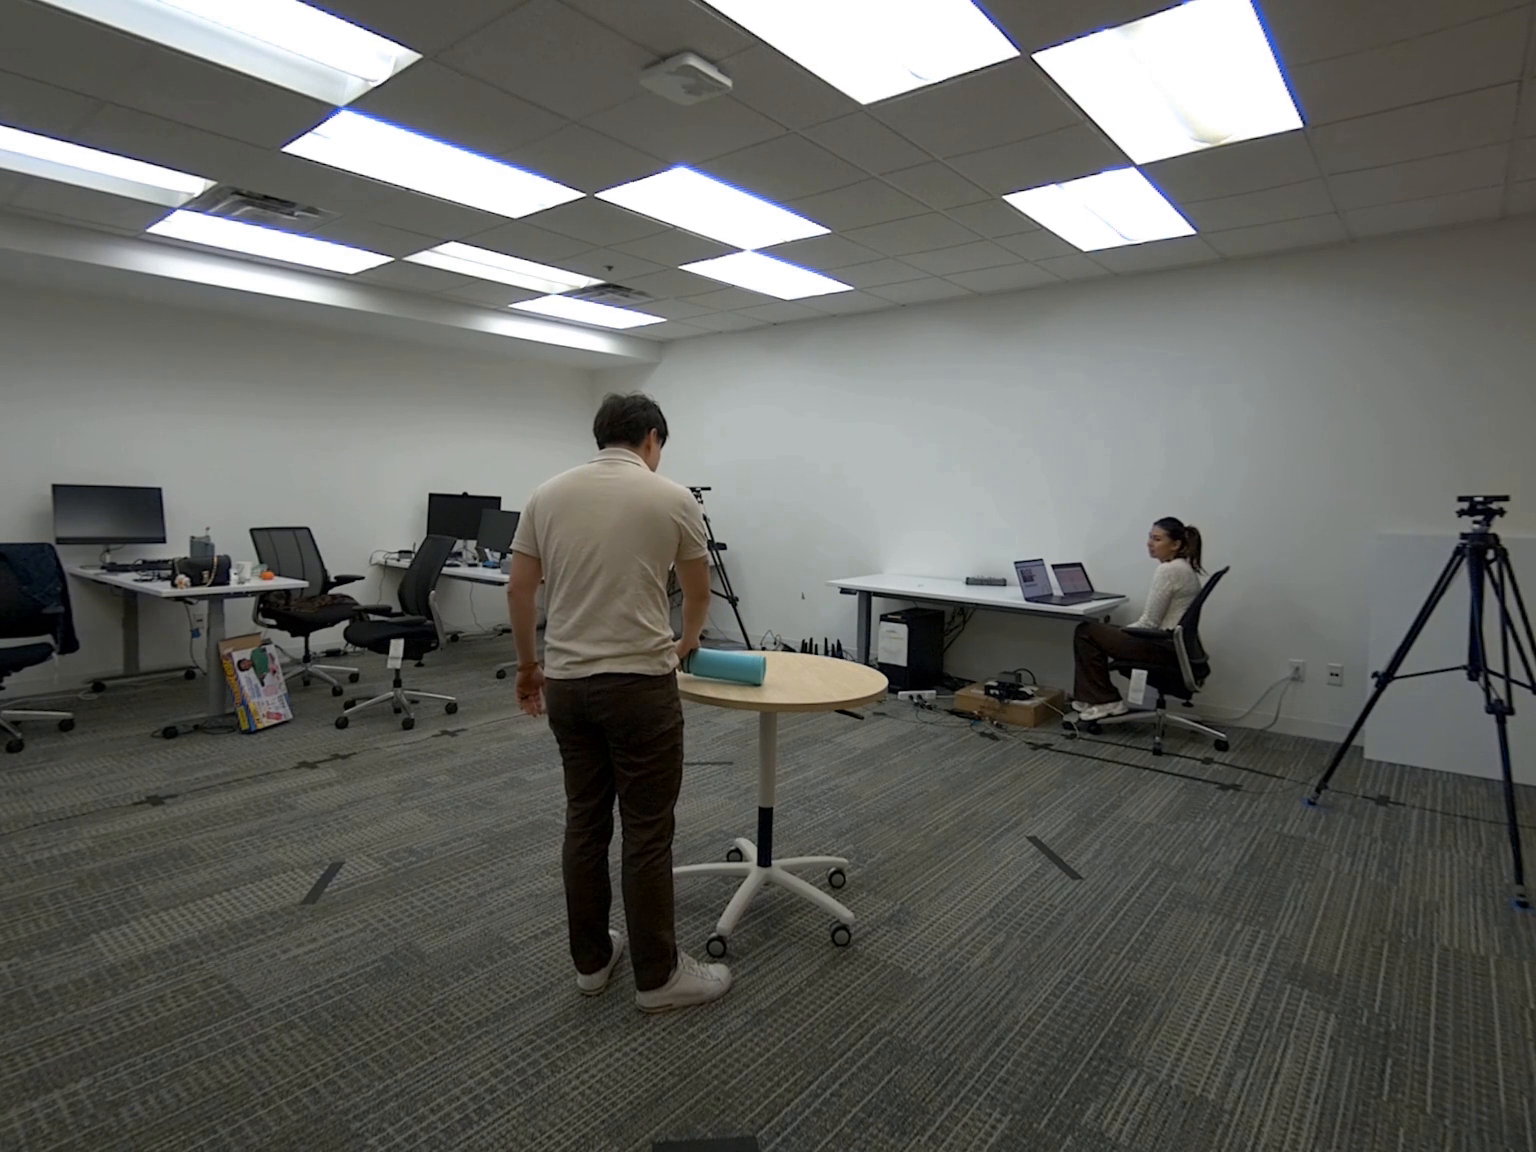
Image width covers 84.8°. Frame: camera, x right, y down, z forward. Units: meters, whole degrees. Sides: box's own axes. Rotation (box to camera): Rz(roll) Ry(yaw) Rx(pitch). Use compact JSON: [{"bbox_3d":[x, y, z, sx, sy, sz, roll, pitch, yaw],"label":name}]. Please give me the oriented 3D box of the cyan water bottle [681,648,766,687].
[{"bbox_3d":[-0.154,0.278,2.658,0.287,0.092,0.091,5,5,13],"label":"cyan water bottle"}]
